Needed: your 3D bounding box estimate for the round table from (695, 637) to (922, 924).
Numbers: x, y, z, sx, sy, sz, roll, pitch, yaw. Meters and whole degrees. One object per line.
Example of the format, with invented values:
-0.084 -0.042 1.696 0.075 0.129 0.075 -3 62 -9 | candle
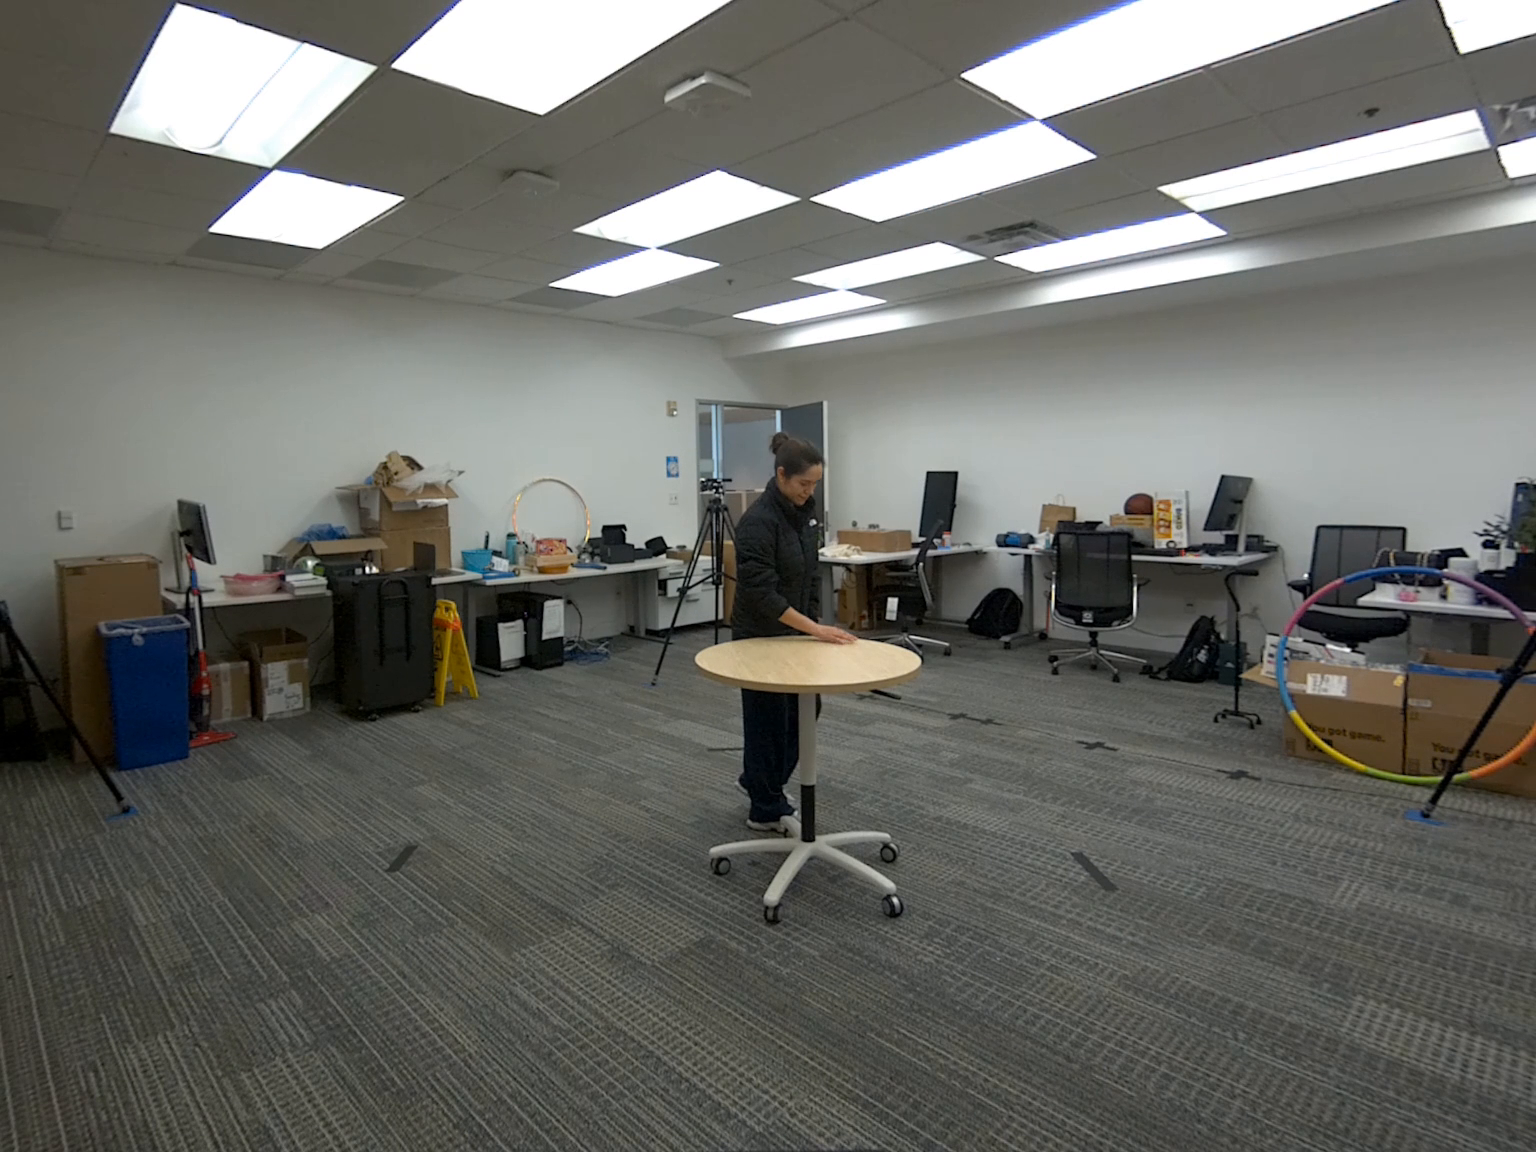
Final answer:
0.126 0.668 2.953 0.784 0.783 0.789 -1 5 -2 | round table
